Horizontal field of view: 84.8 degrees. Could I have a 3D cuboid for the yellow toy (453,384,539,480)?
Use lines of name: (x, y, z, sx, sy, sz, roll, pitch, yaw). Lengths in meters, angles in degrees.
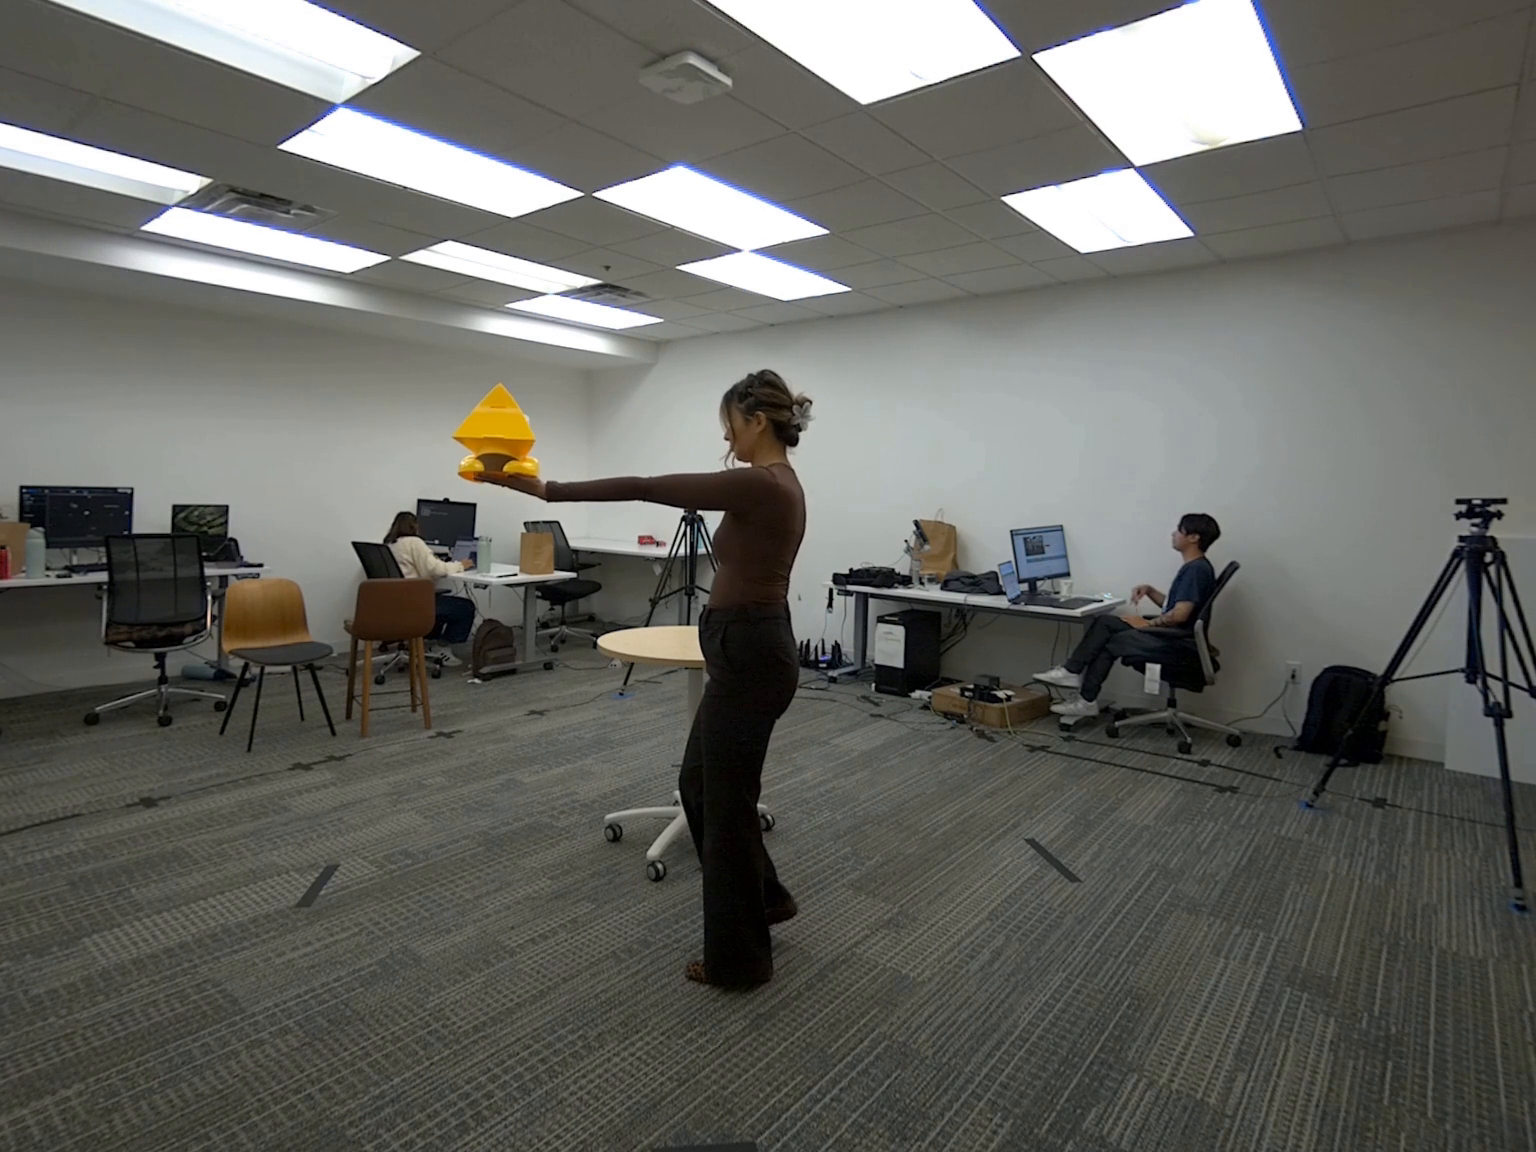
yellow toy: (-0.698, -0.367, 2.195, 0.204, 0.232, 0.192, 2, -7, -5)
